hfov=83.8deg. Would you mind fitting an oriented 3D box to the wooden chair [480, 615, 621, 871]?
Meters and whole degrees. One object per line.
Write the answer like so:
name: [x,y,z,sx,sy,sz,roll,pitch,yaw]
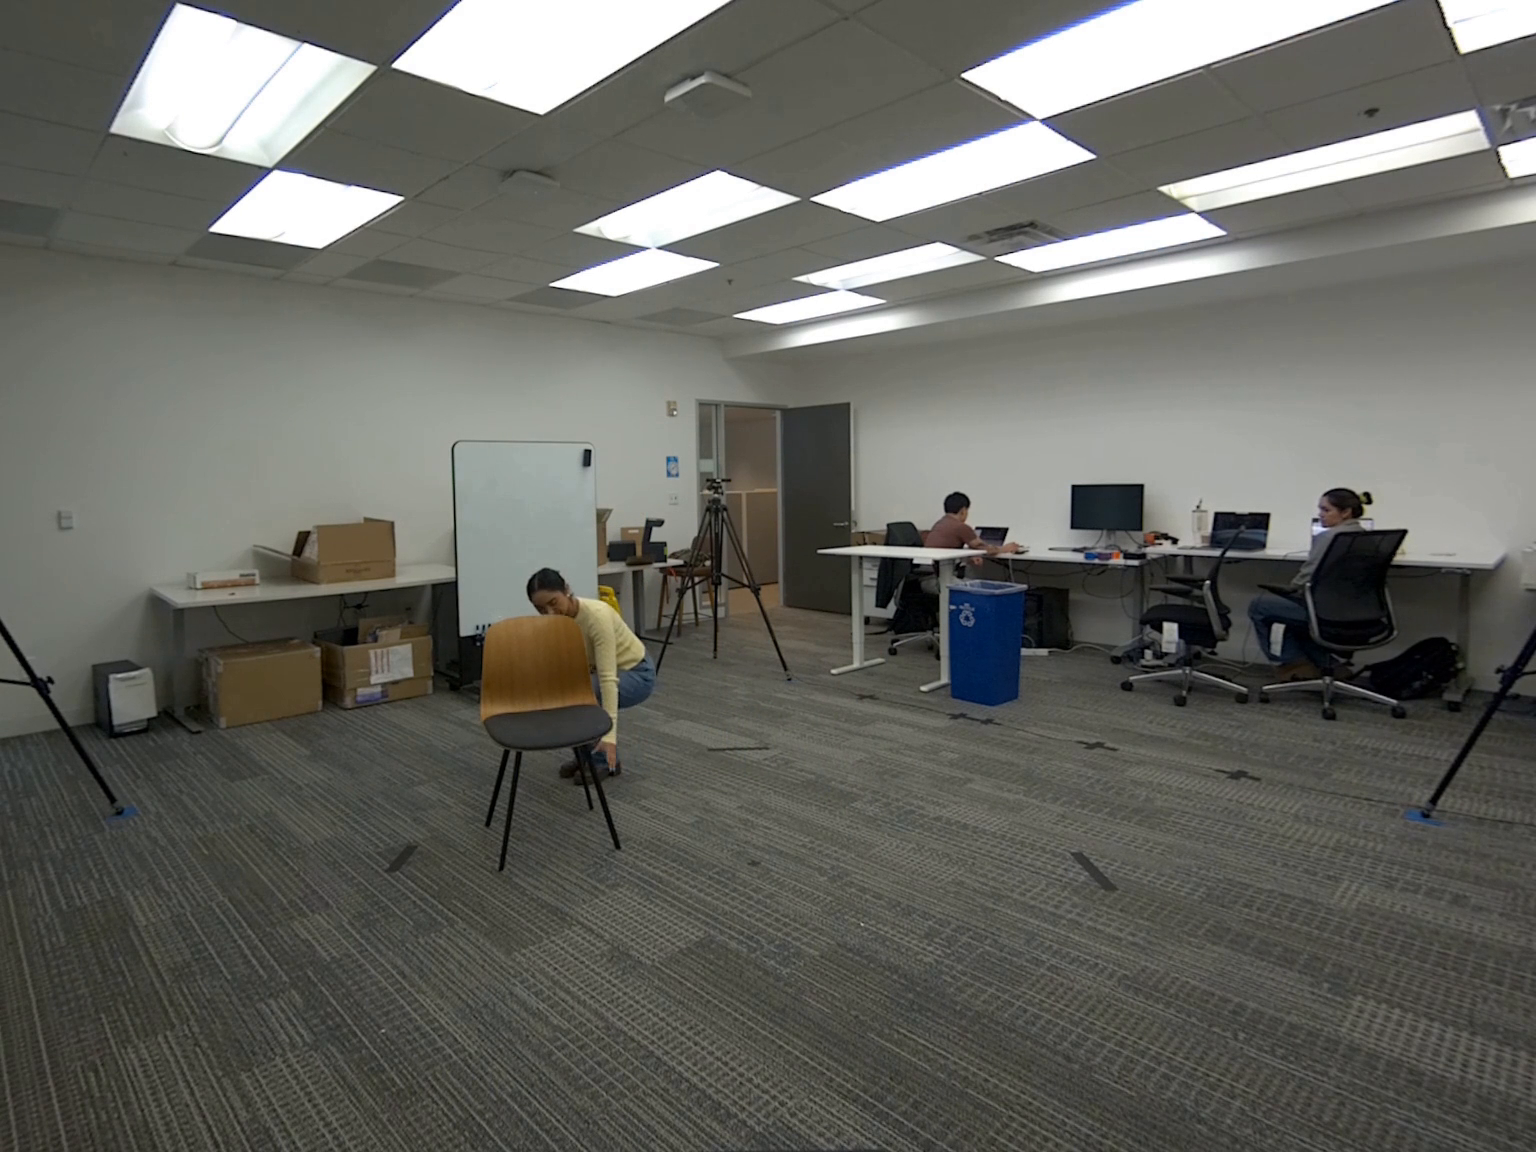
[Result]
wooden chair: [-0.859,0.610,3.328,0.468,0.878,0.533,-2,0,-24]
